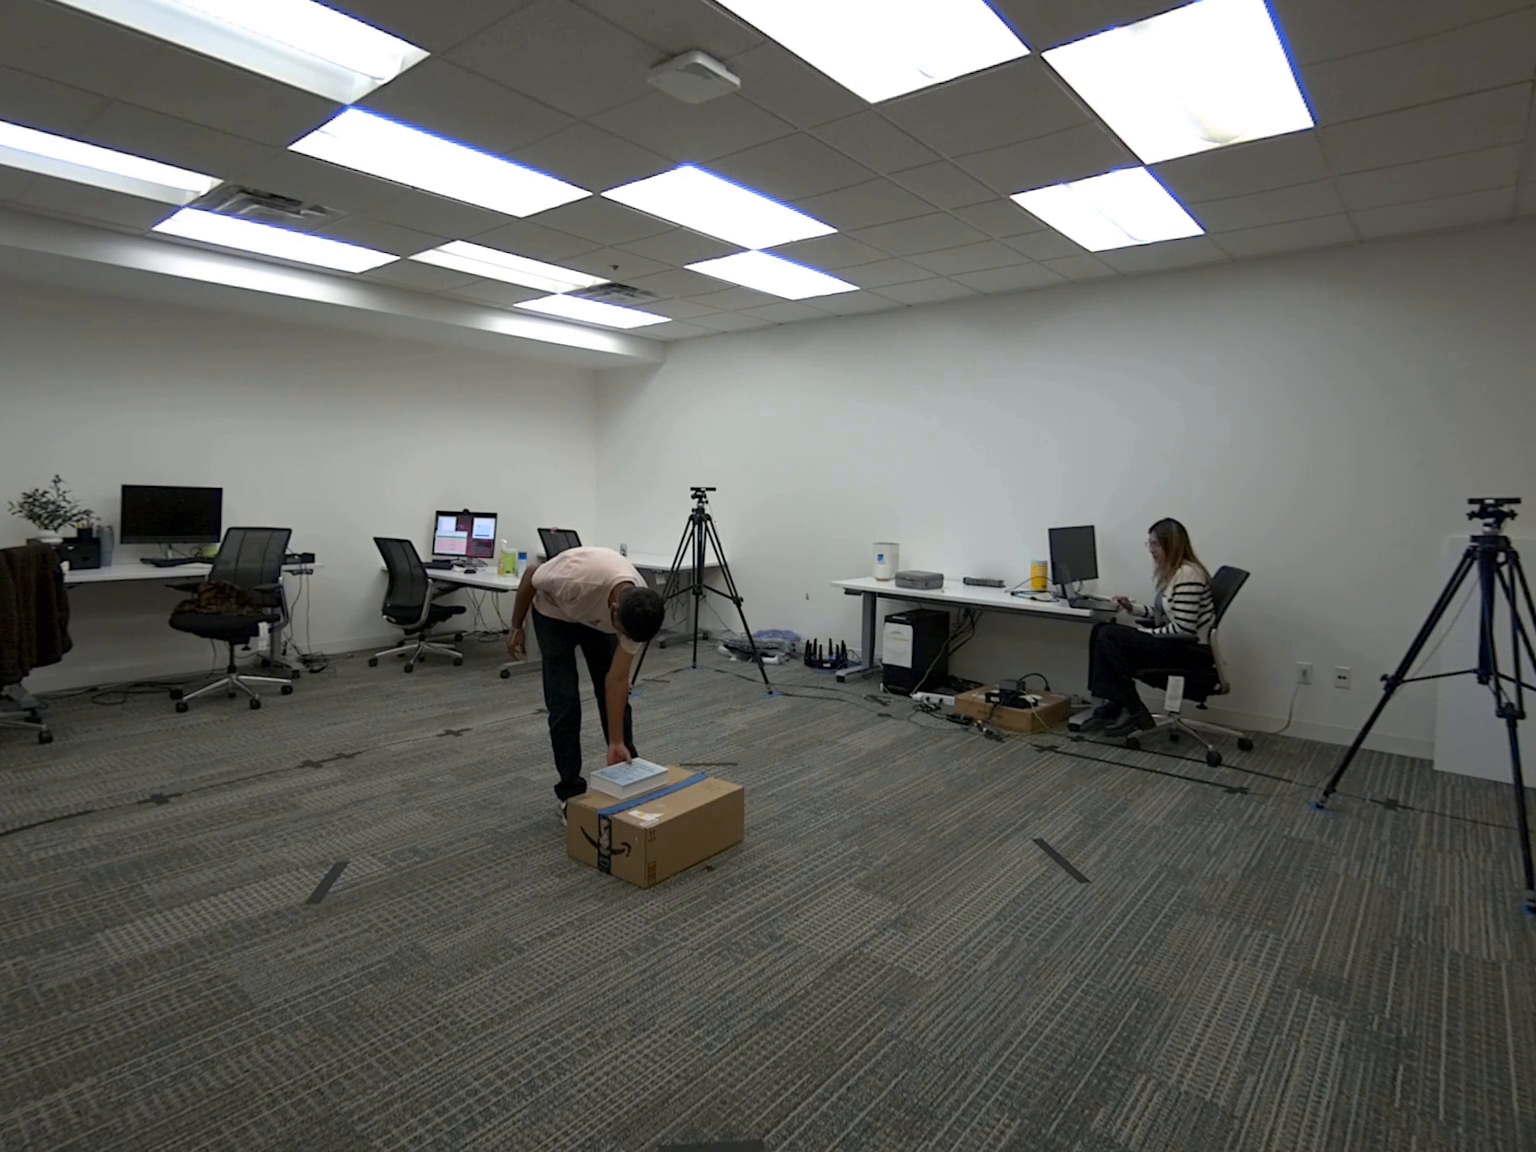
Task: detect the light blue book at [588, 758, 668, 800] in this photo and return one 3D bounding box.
[{"bbox_3d":[-0.554,0.791,3.358,0.198,0.059,0.253,9,9,37],"label":"light blue book"}]
